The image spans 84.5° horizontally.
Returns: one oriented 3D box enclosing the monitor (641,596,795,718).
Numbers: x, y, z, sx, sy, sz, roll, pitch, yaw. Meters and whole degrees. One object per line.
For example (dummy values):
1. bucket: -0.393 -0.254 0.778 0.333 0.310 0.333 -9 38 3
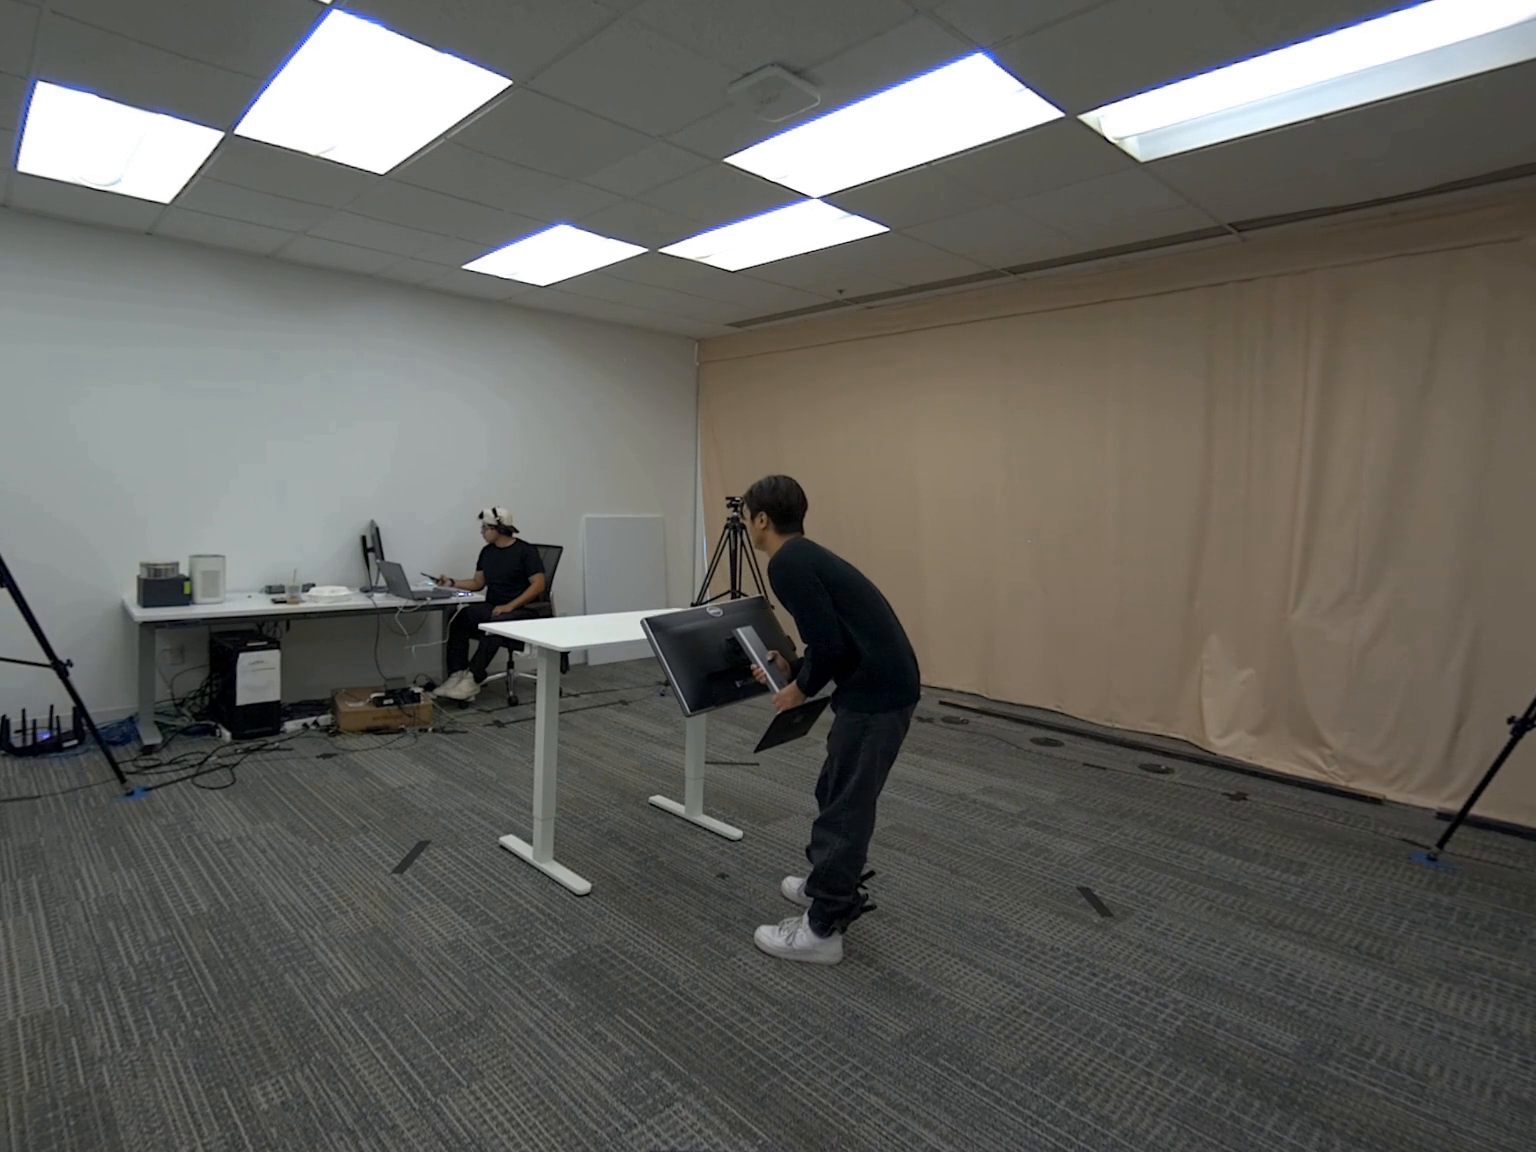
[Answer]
1. monitor: -0.077 0.290 2.837 0.519 0.173 0.531 -10 44 -44
